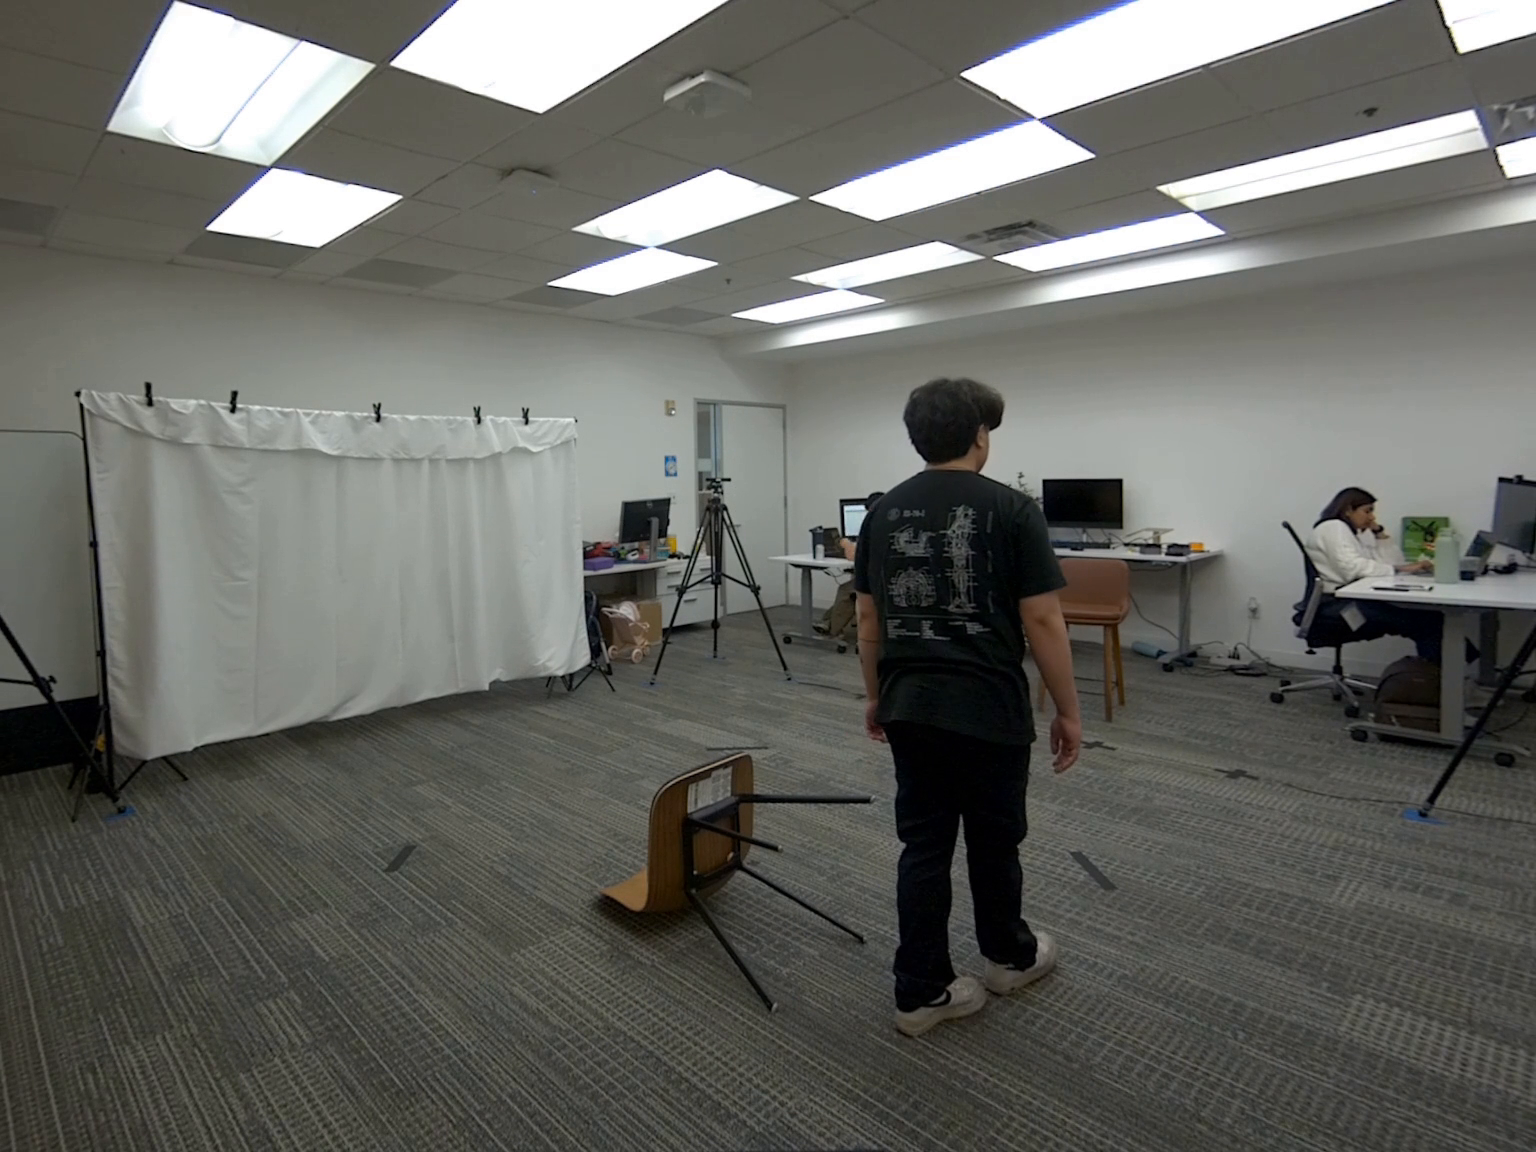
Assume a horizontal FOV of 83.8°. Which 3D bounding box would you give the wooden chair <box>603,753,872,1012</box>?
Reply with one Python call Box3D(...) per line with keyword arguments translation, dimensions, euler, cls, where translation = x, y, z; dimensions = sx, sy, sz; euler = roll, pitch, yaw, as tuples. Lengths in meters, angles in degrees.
Box3D(translation=(-0.164, 0.838, 2.663), dimensions=(0.904, 0.521, 0.466), euler=(3, 6, 41), cls="wooden chair")
